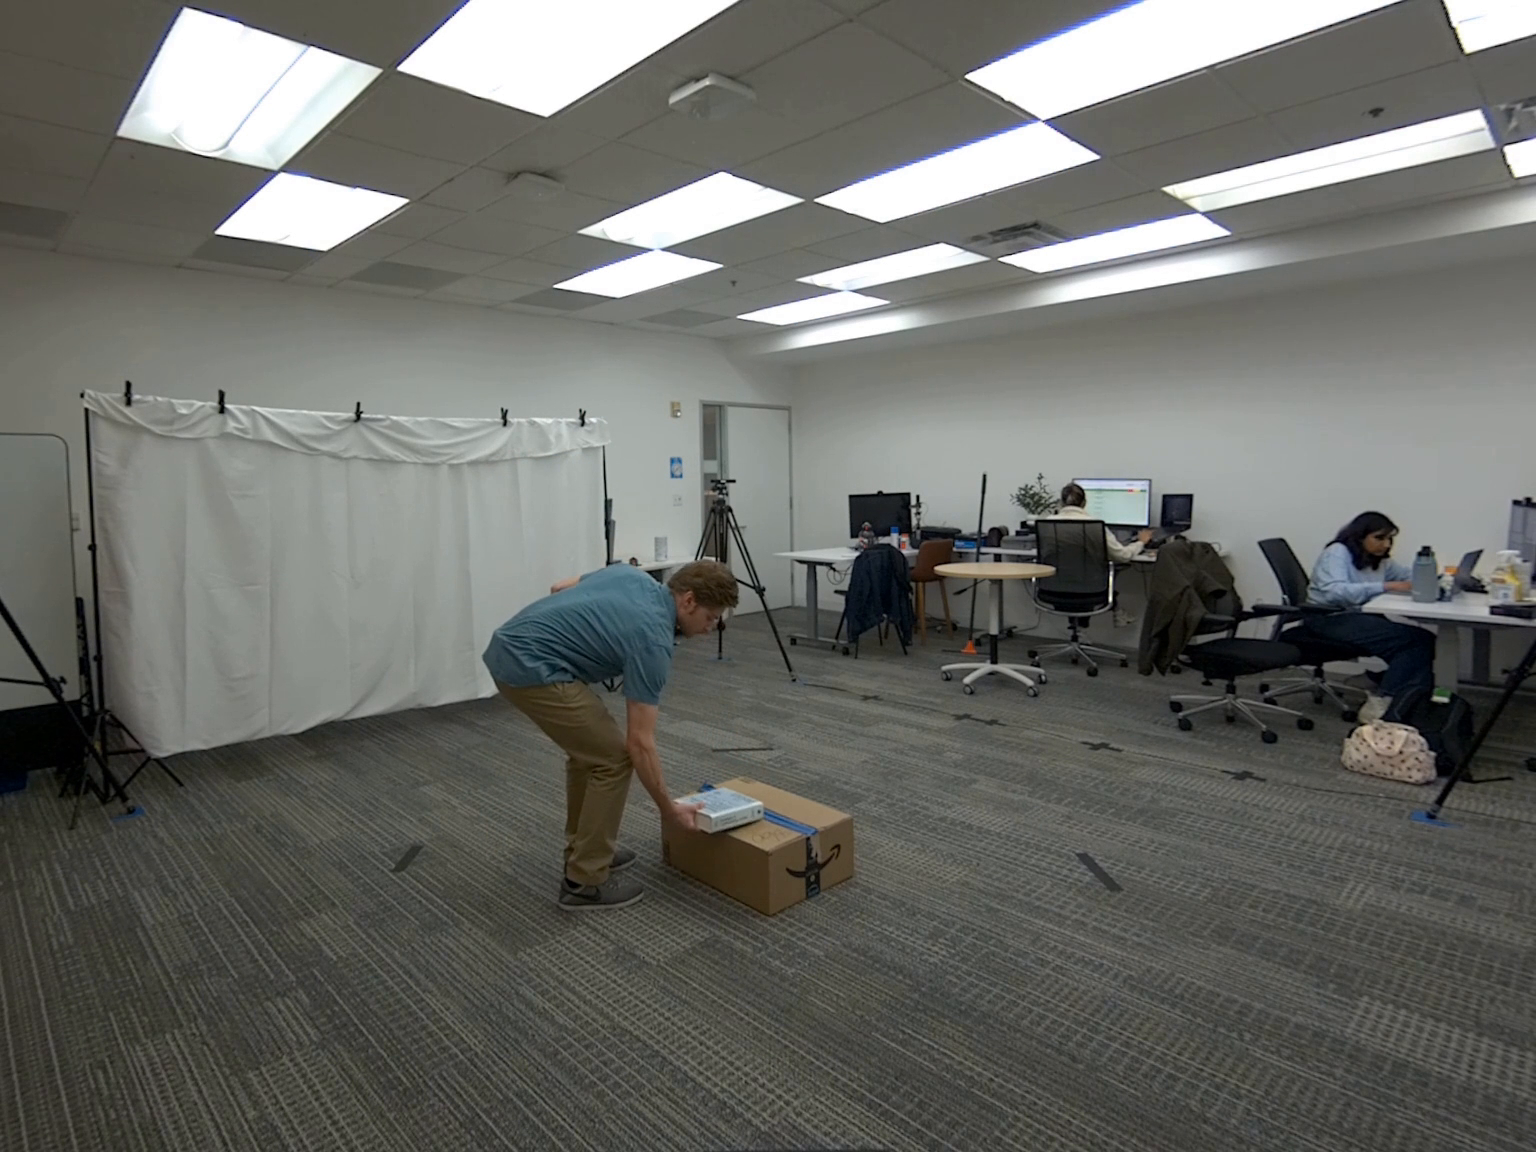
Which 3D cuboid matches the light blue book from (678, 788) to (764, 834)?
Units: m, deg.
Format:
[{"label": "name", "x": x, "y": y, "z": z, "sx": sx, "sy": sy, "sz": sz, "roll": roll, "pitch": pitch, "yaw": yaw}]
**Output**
[{"label": "light blue book", "x": -0.171, "y": 0.796, "z": 2.939, "sx": 0.197, "sy": 0.059, "sz": 0.253, "roll": 8, "pitch": 4, "yaw": 42}]
